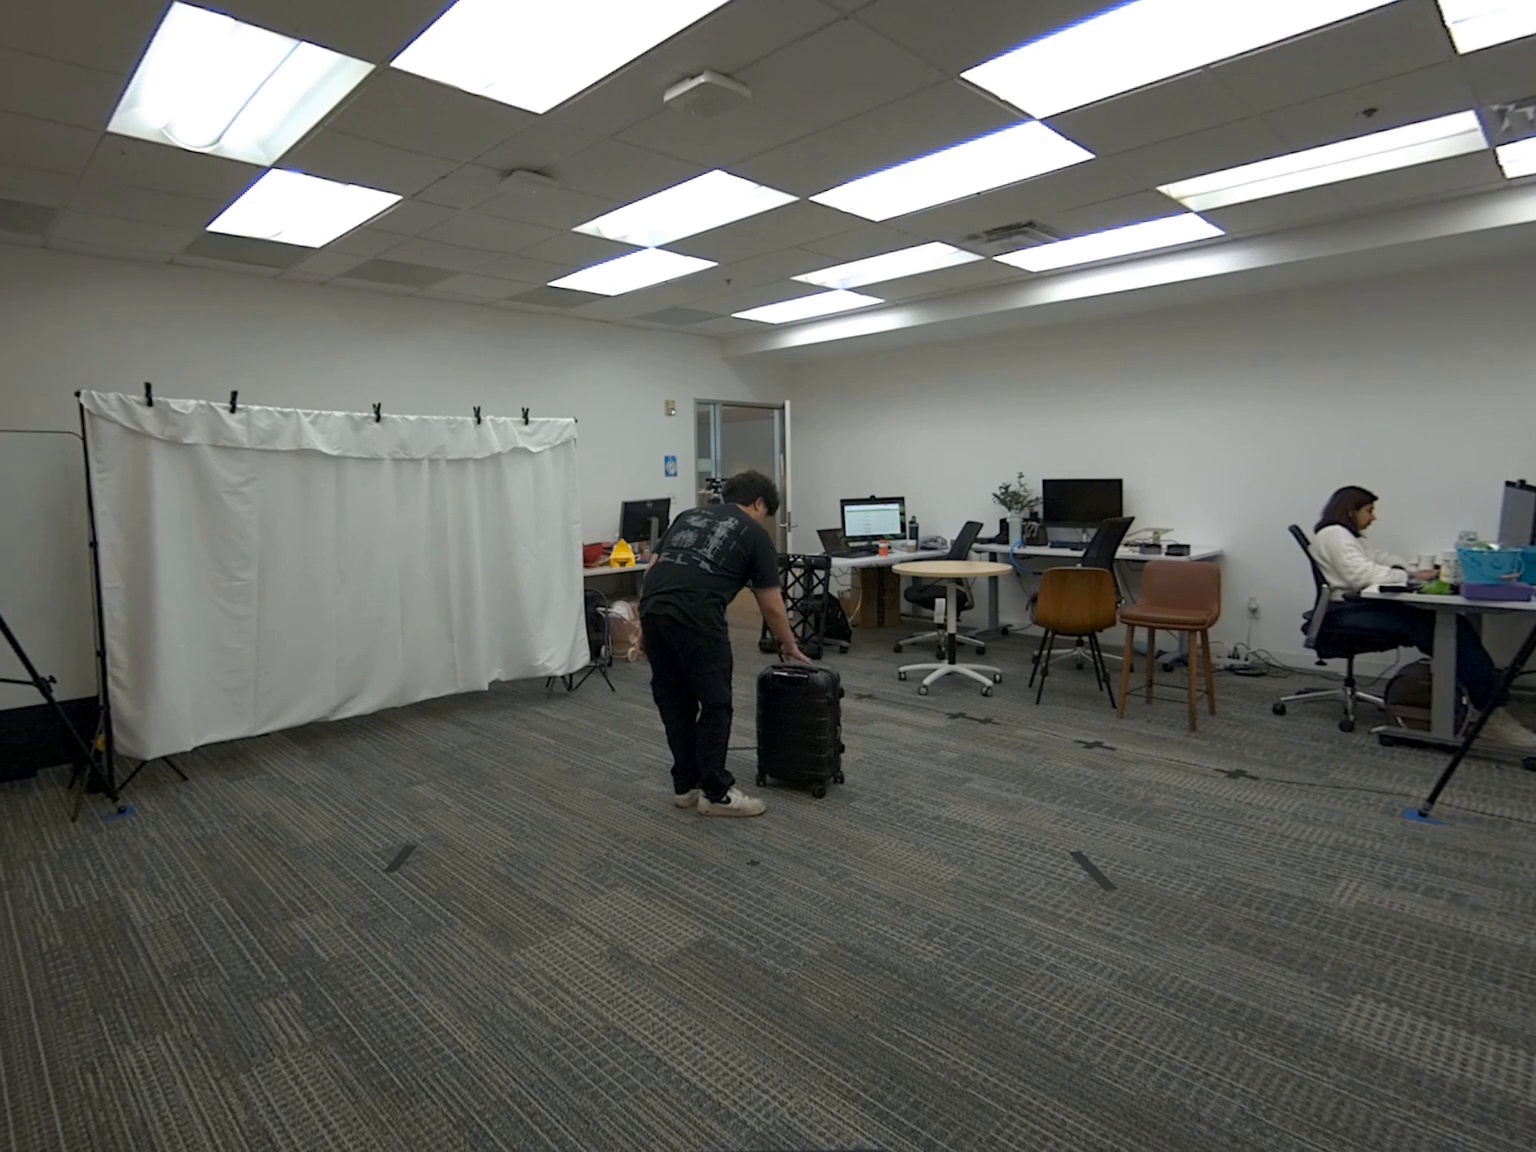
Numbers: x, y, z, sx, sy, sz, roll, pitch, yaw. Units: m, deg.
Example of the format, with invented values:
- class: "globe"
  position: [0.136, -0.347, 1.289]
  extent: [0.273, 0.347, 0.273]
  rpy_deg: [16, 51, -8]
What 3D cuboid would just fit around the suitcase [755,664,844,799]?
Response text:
- class: "suitcase"
  position: [0.145, 0.676, 3.895]
  extent: [0.384, 0.548, 0.243]
  rpy_deg: [1, 4, 25]
